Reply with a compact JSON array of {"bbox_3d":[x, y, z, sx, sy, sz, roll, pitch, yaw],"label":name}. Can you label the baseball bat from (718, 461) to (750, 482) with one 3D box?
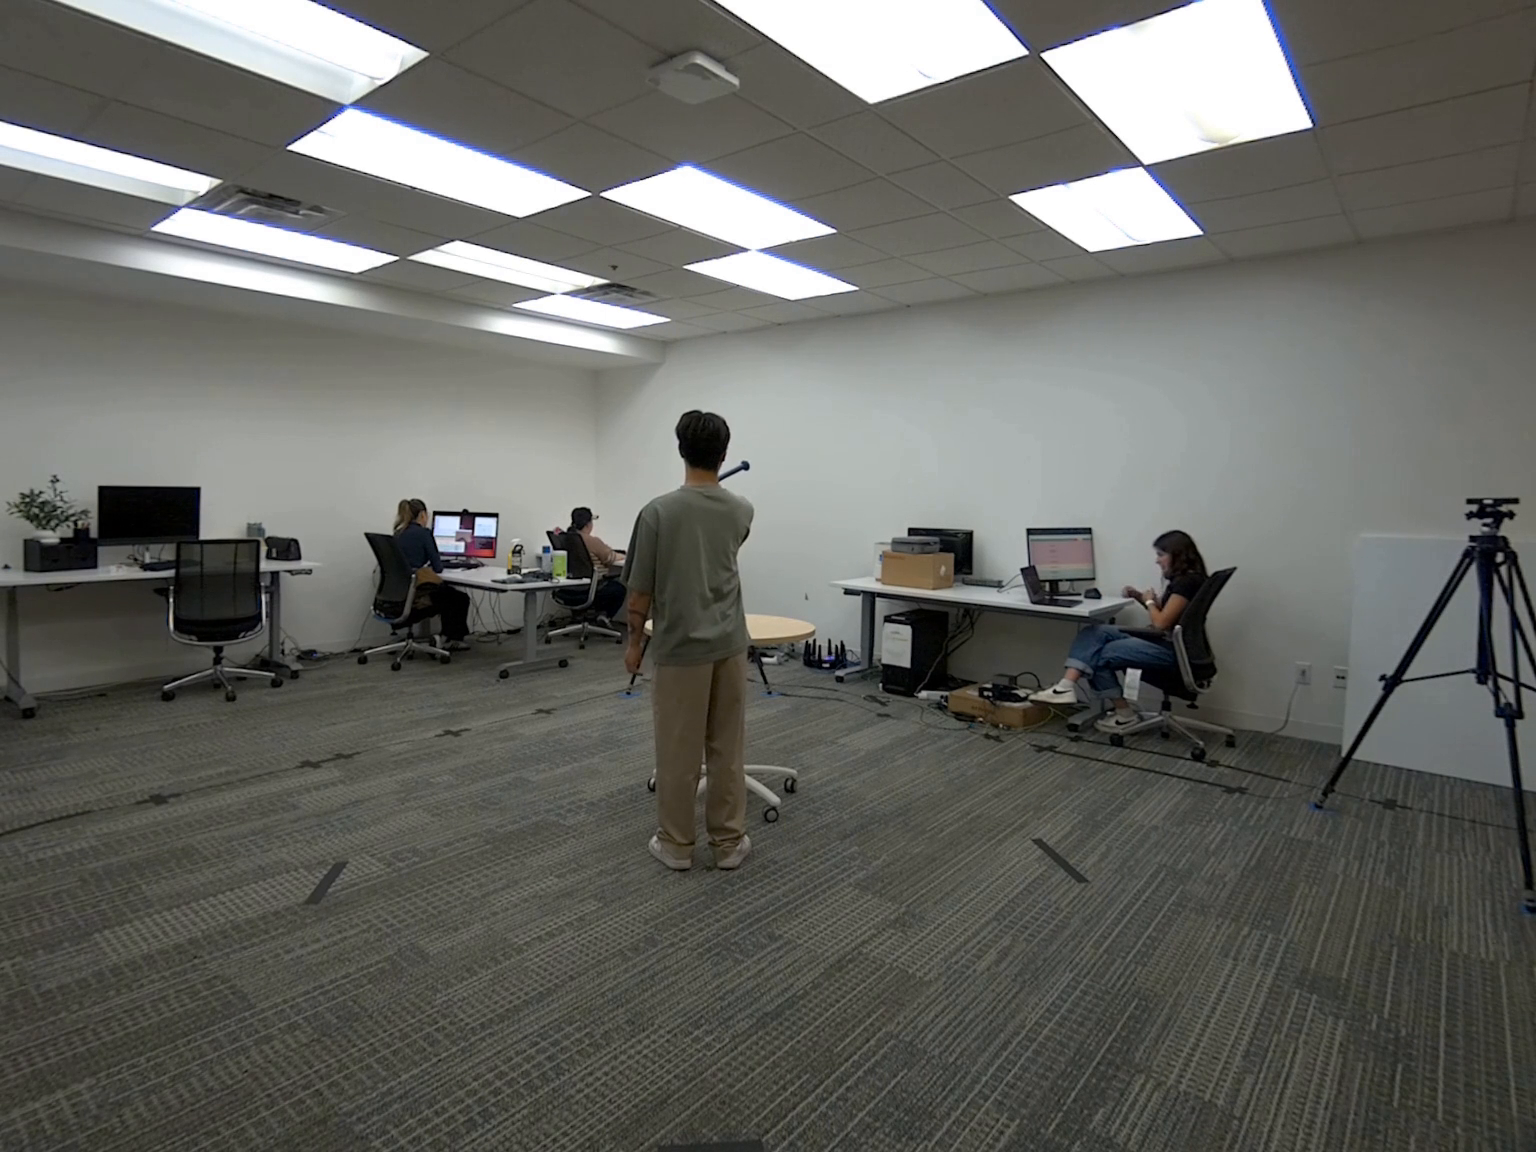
[{"bbox_3d":[-0.284,-0.402,3.782,0.536,0.087,0.092,-31,22,-32],"label":"baseball bat"}]
